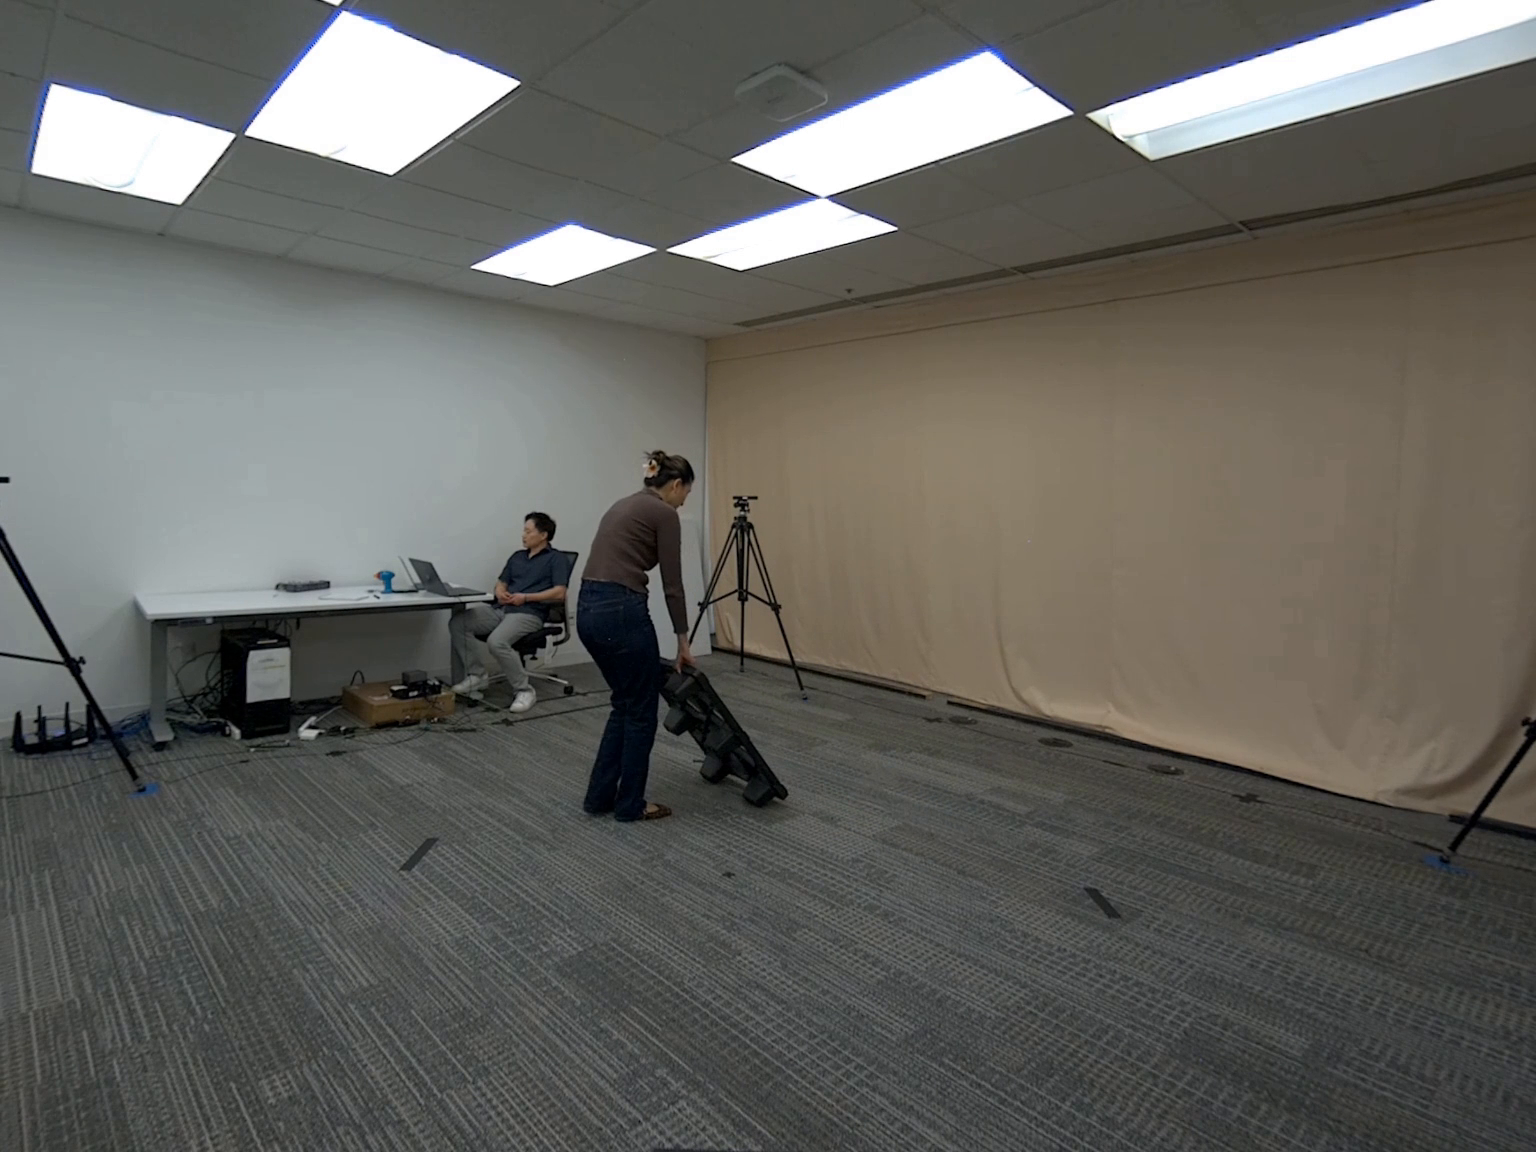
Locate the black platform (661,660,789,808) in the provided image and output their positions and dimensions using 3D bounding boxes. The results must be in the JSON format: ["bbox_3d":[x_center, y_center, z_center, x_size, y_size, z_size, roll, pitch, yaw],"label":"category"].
[{"bbox_3d":[-0.321,0.698,3.876,0.143,0.788,0.620,-43,26,-25],"label":"black platform"}]
